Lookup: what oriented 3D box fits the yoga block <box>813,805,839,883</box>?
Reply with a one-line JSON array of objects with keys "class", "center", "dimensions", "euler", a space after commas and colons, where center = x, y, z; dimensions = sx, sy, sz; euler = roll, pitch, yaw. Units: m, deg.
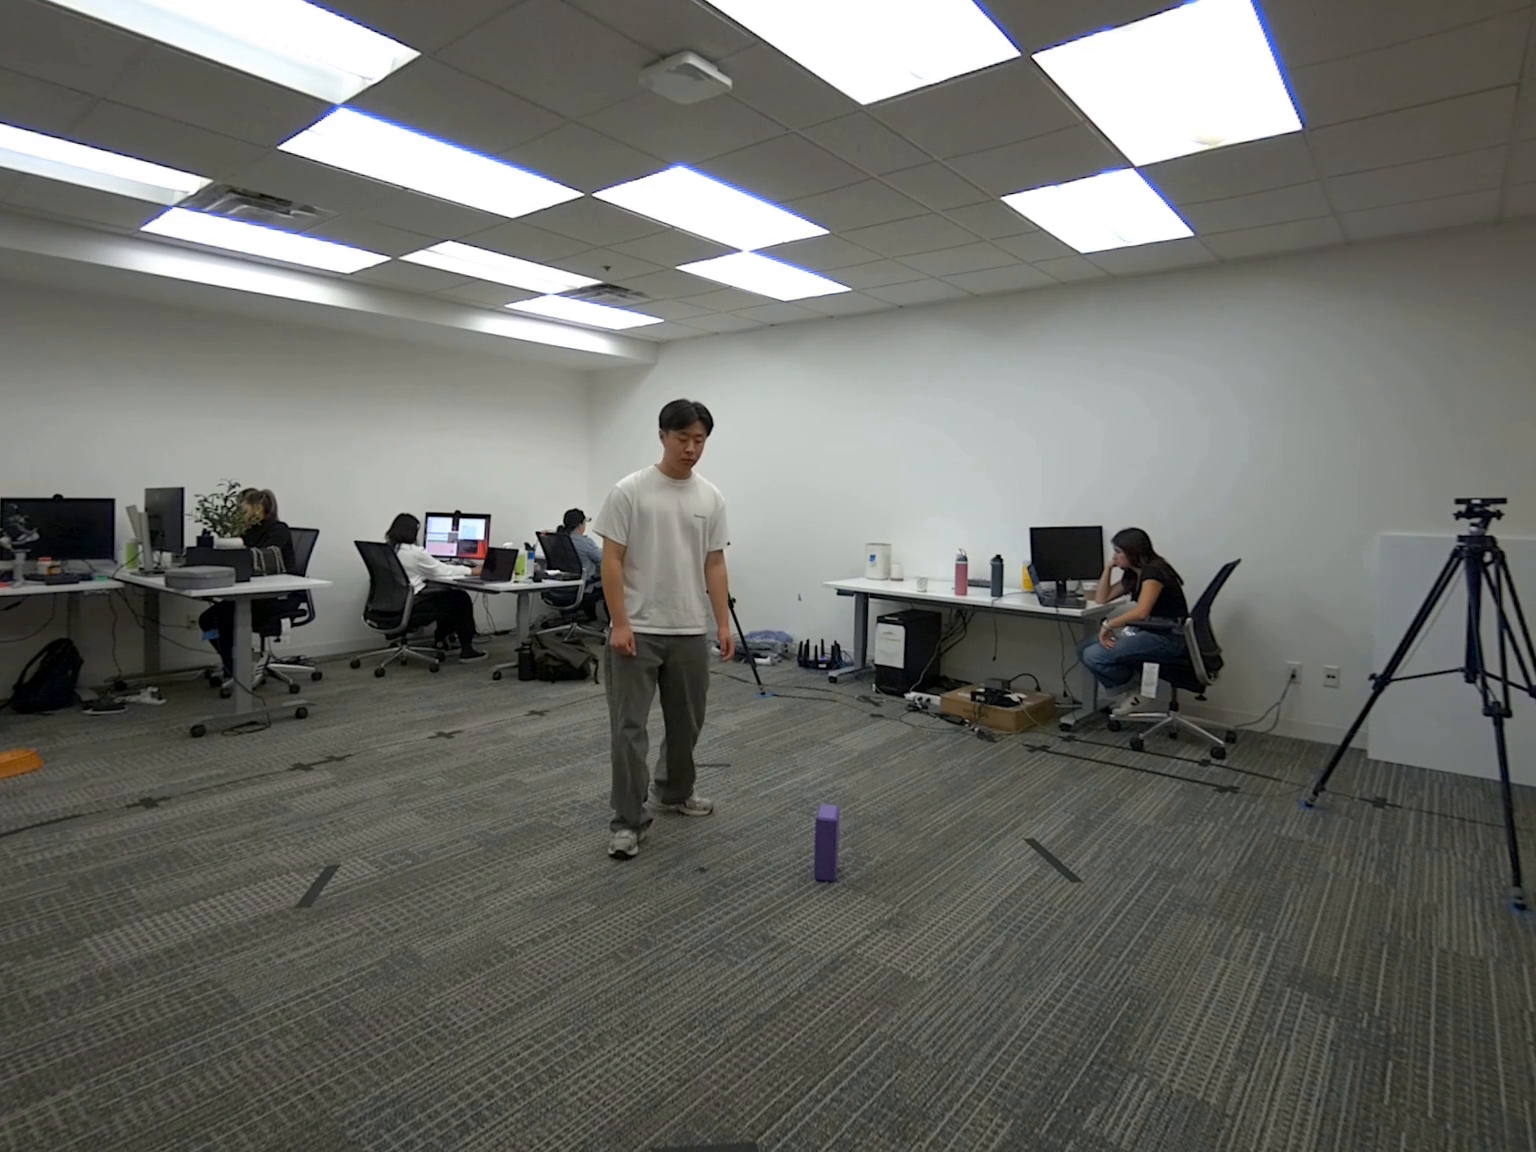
[{"class": "yoga block", "center": [0.219, 0.960, 3.093], "dimensions": [0.077, 0.228, 0.148], "euler": [2, 4, 8]}]
